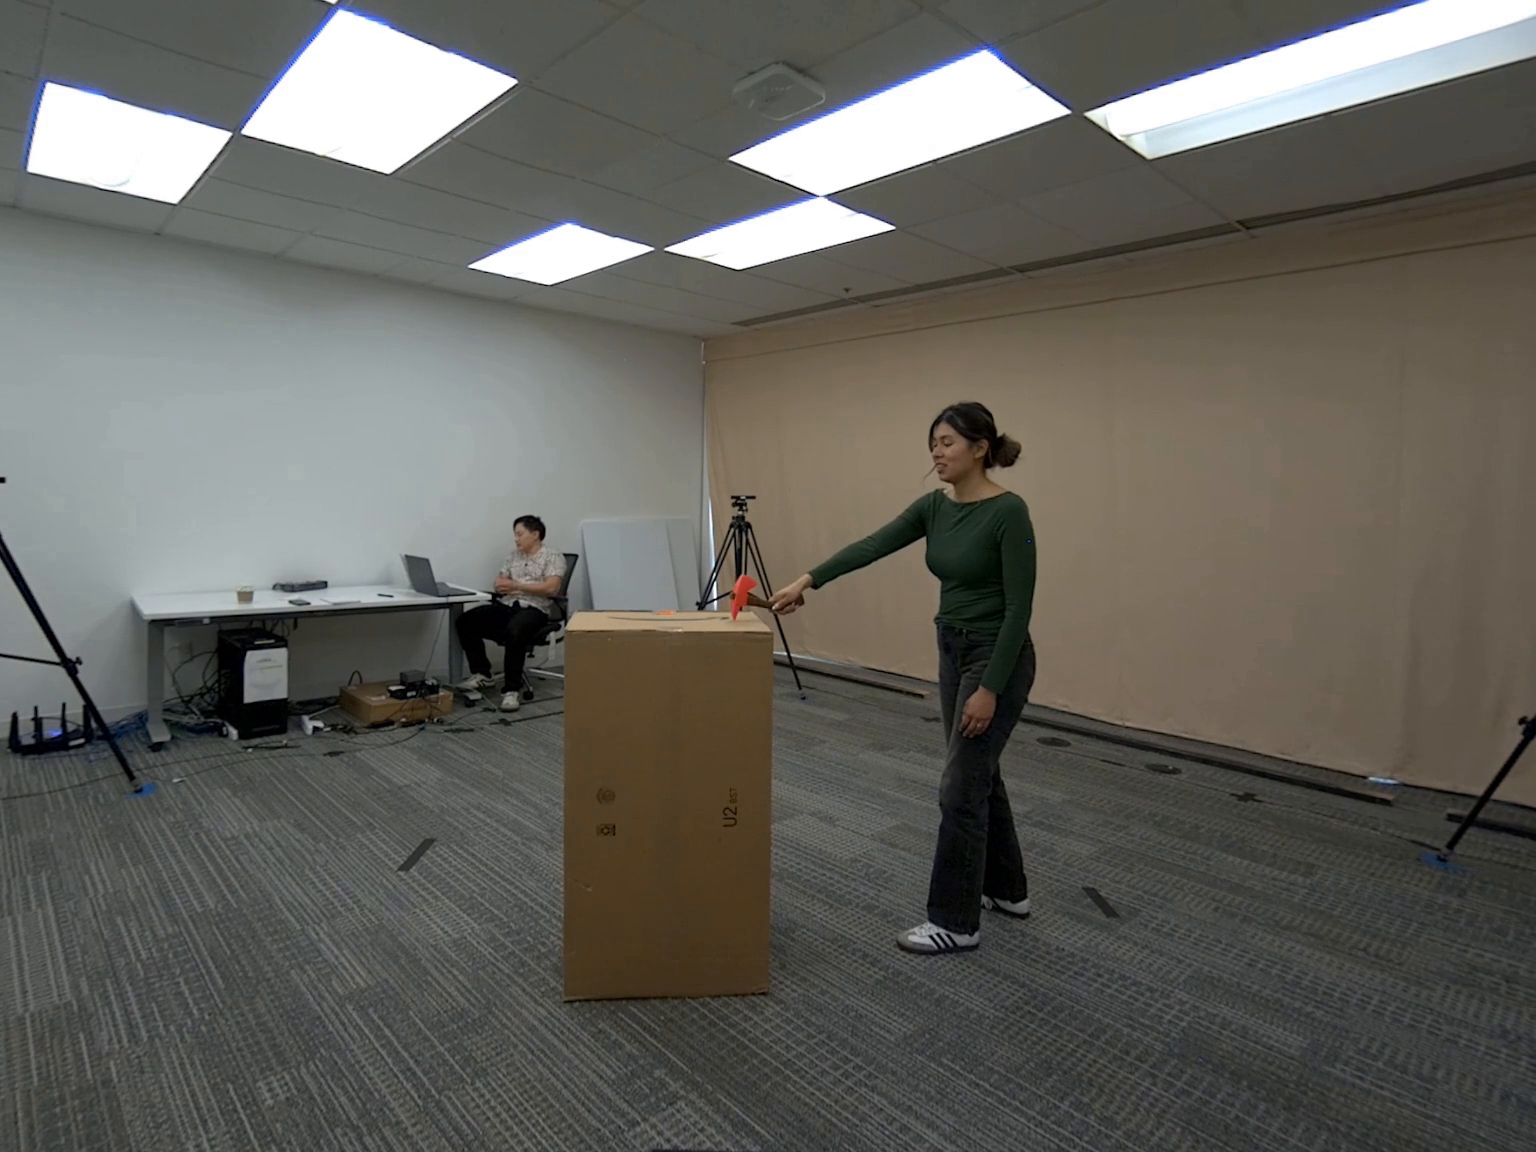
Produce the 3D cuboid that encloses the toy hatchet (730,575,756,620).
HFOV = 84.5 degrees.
[{"bbox_3d":[0.009,0.043,2.534,0.265,0.130,0.030,-8,4,-30],"label":"toy hatchet"}]
